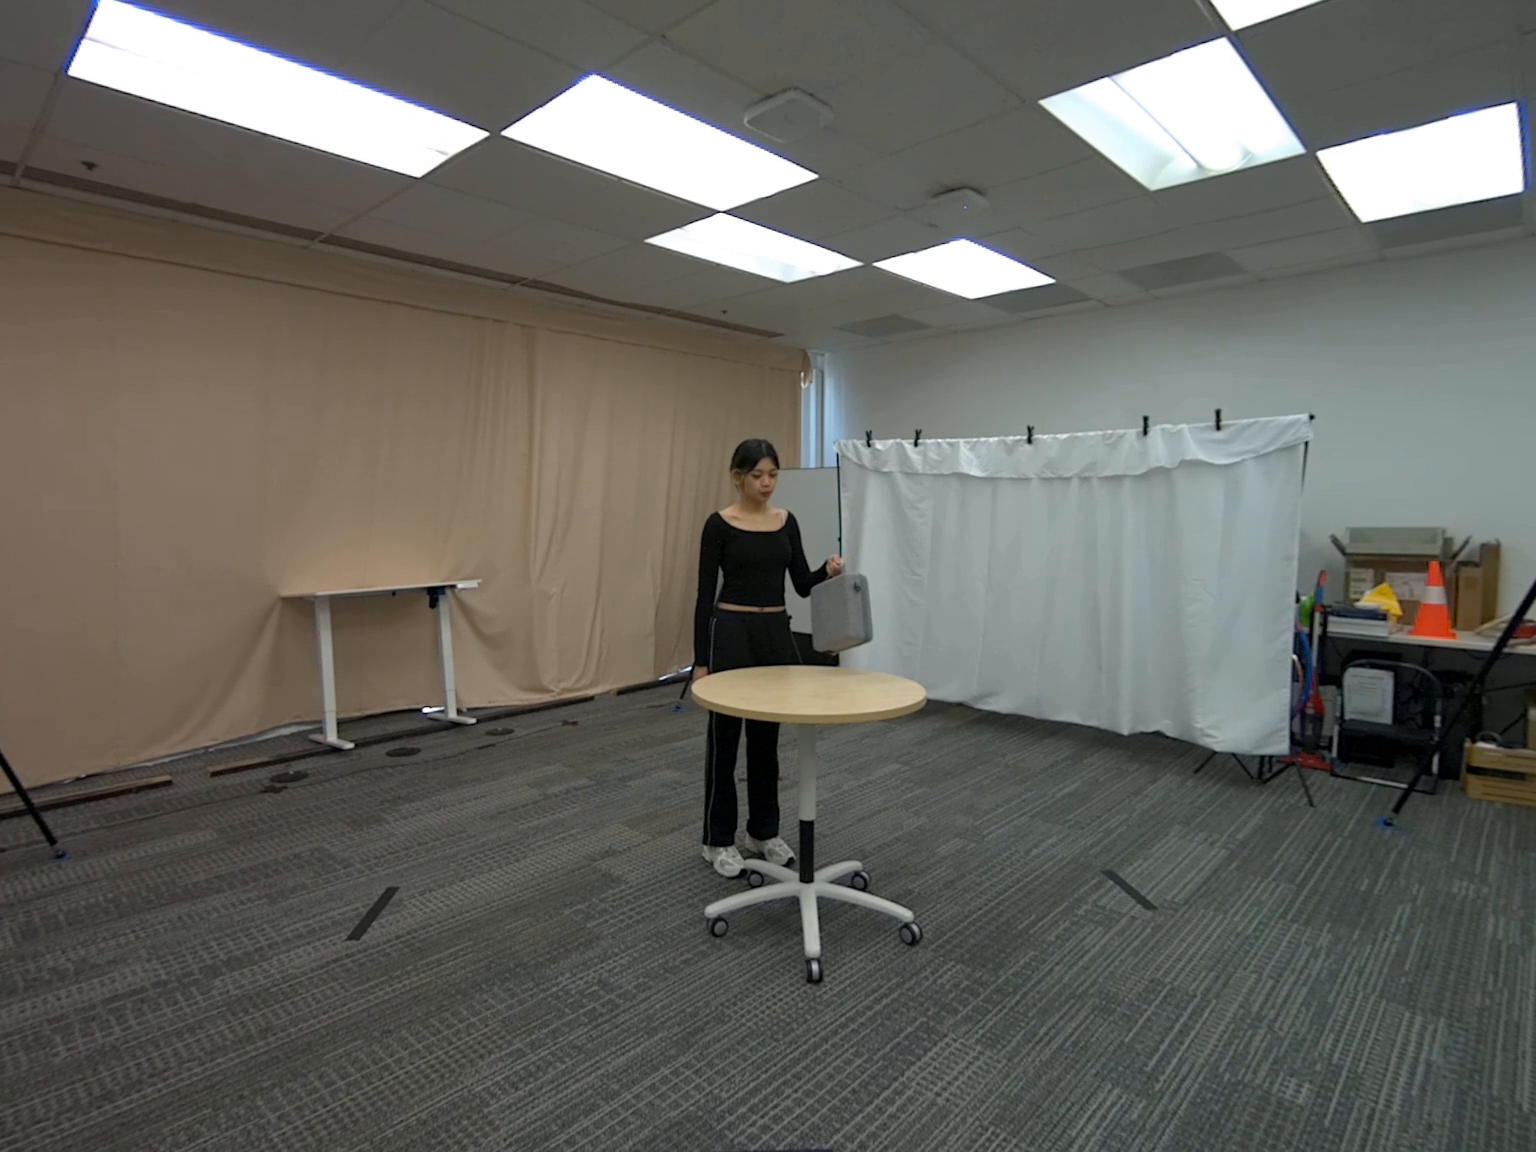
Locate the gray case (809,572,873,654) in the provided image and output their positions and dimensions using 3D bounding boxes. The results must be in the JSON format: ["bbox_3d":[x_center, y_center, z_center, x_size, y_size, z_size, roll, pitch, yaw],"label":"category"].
[{"bbox_3d":[0.265,0.133,3.017,0.101,0.264,0.261,6,-19,-28],"label":"gray case"}]
